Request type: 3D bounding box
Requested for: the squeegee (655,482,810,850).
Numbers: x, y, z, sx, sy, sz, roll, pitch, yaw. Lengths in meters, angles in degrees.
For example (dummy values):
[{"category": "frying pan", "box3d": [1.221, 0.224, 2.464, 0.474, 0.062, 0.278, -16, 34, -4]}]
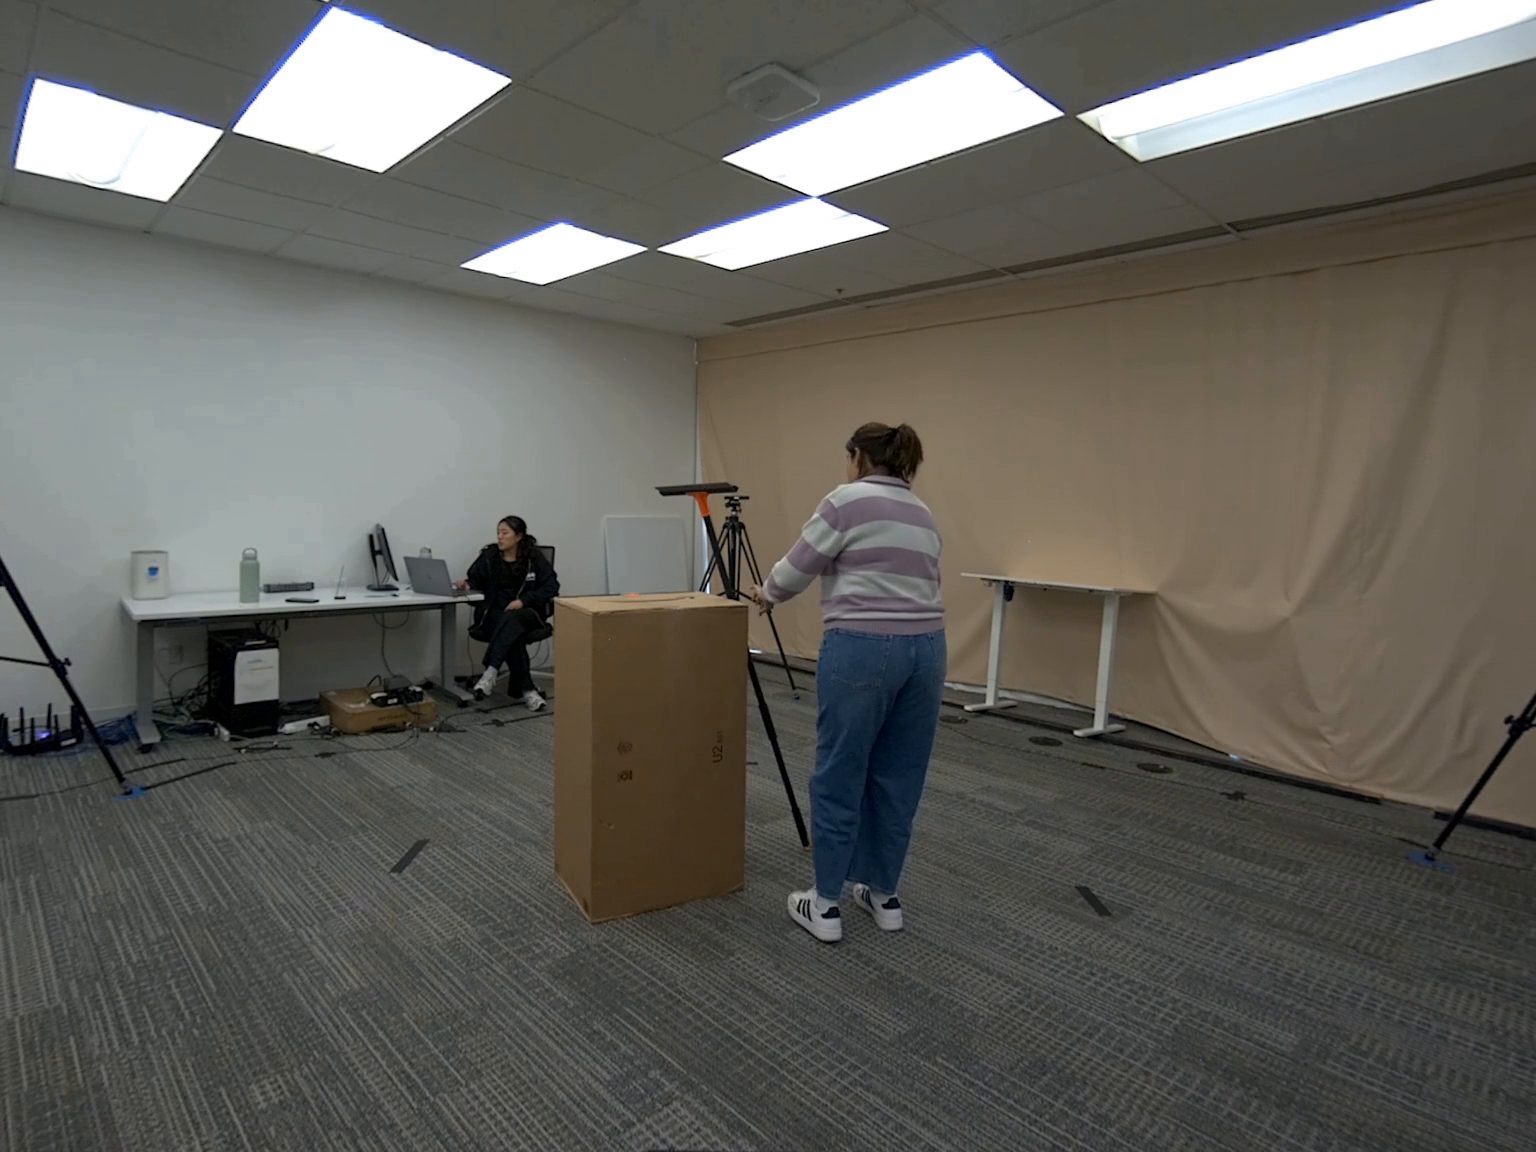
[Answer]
[{"category": "squeegee", "box3d": [-0.044, 0.372, 3.163, 0.052, 1.515, 0.448, -28, 19, -35]}]
